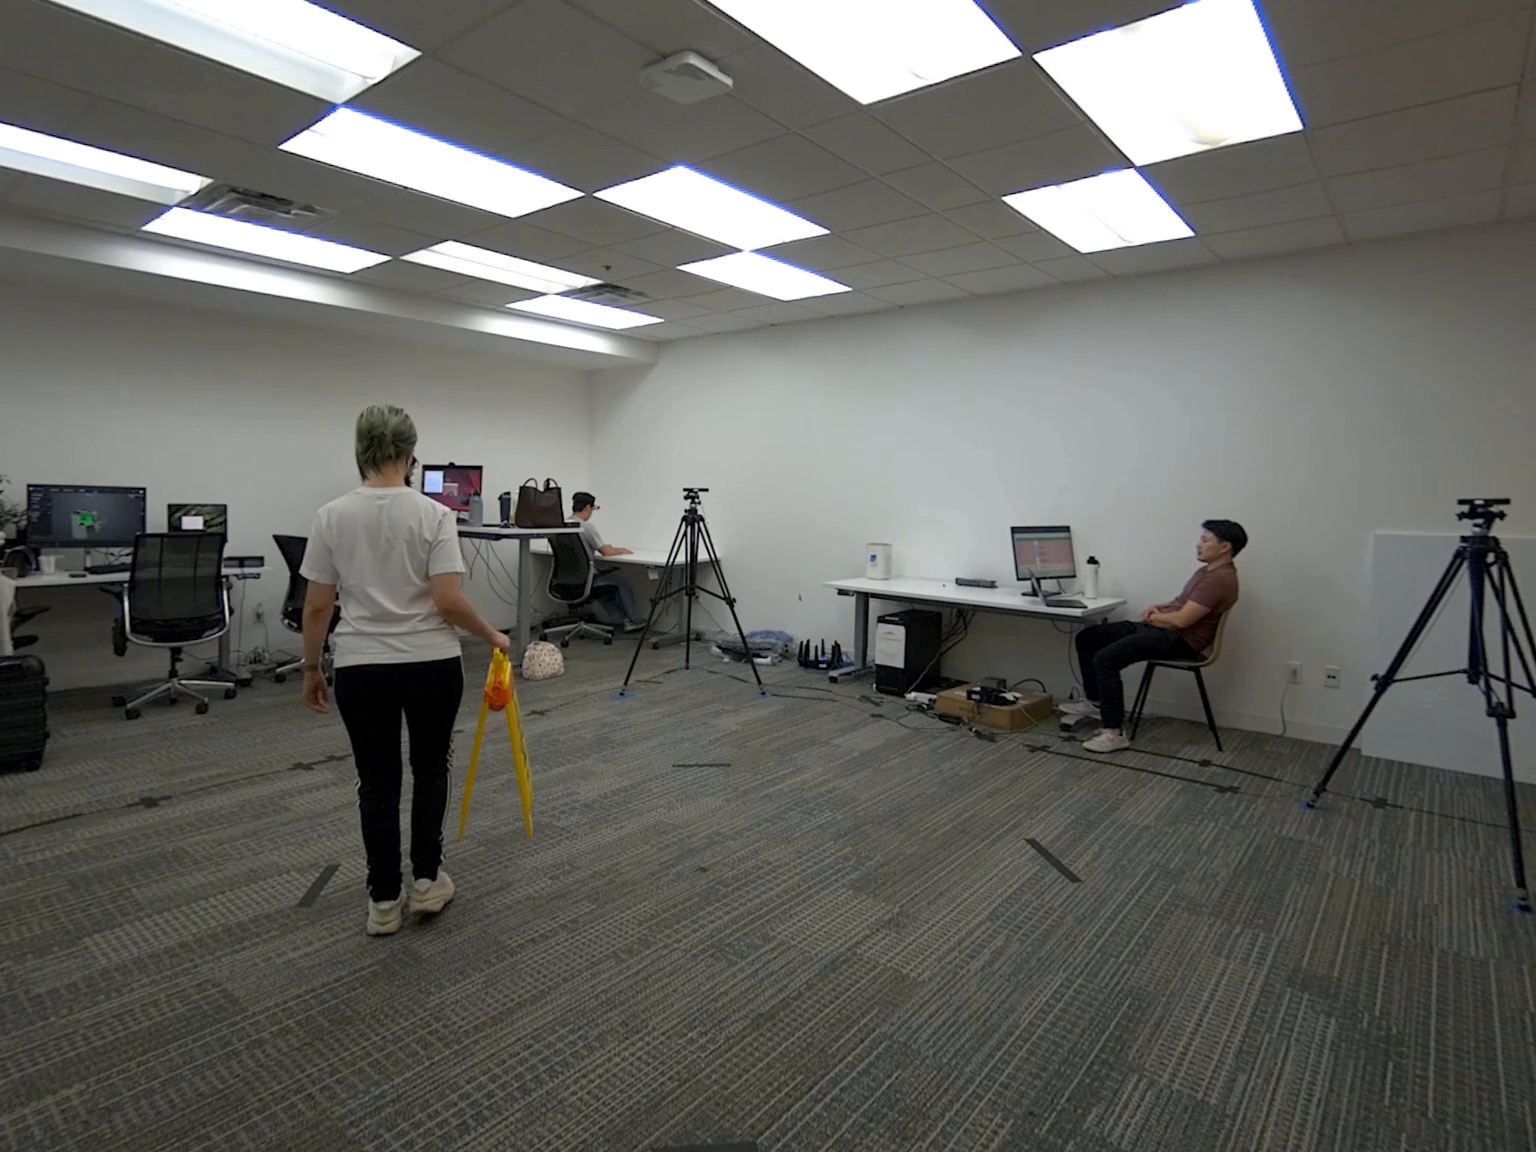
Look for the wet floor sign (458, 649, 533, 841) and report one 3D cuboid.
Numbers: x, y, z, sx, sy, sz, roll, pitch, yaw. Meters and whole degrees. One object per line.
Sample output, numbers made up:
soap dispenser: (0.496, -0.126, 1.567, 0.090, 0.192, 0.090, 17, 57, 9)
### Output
wet floor sign: (-0.931, 0.535, 2.901, 0.286, 0.639, 0.289, 2, 13, -14)
